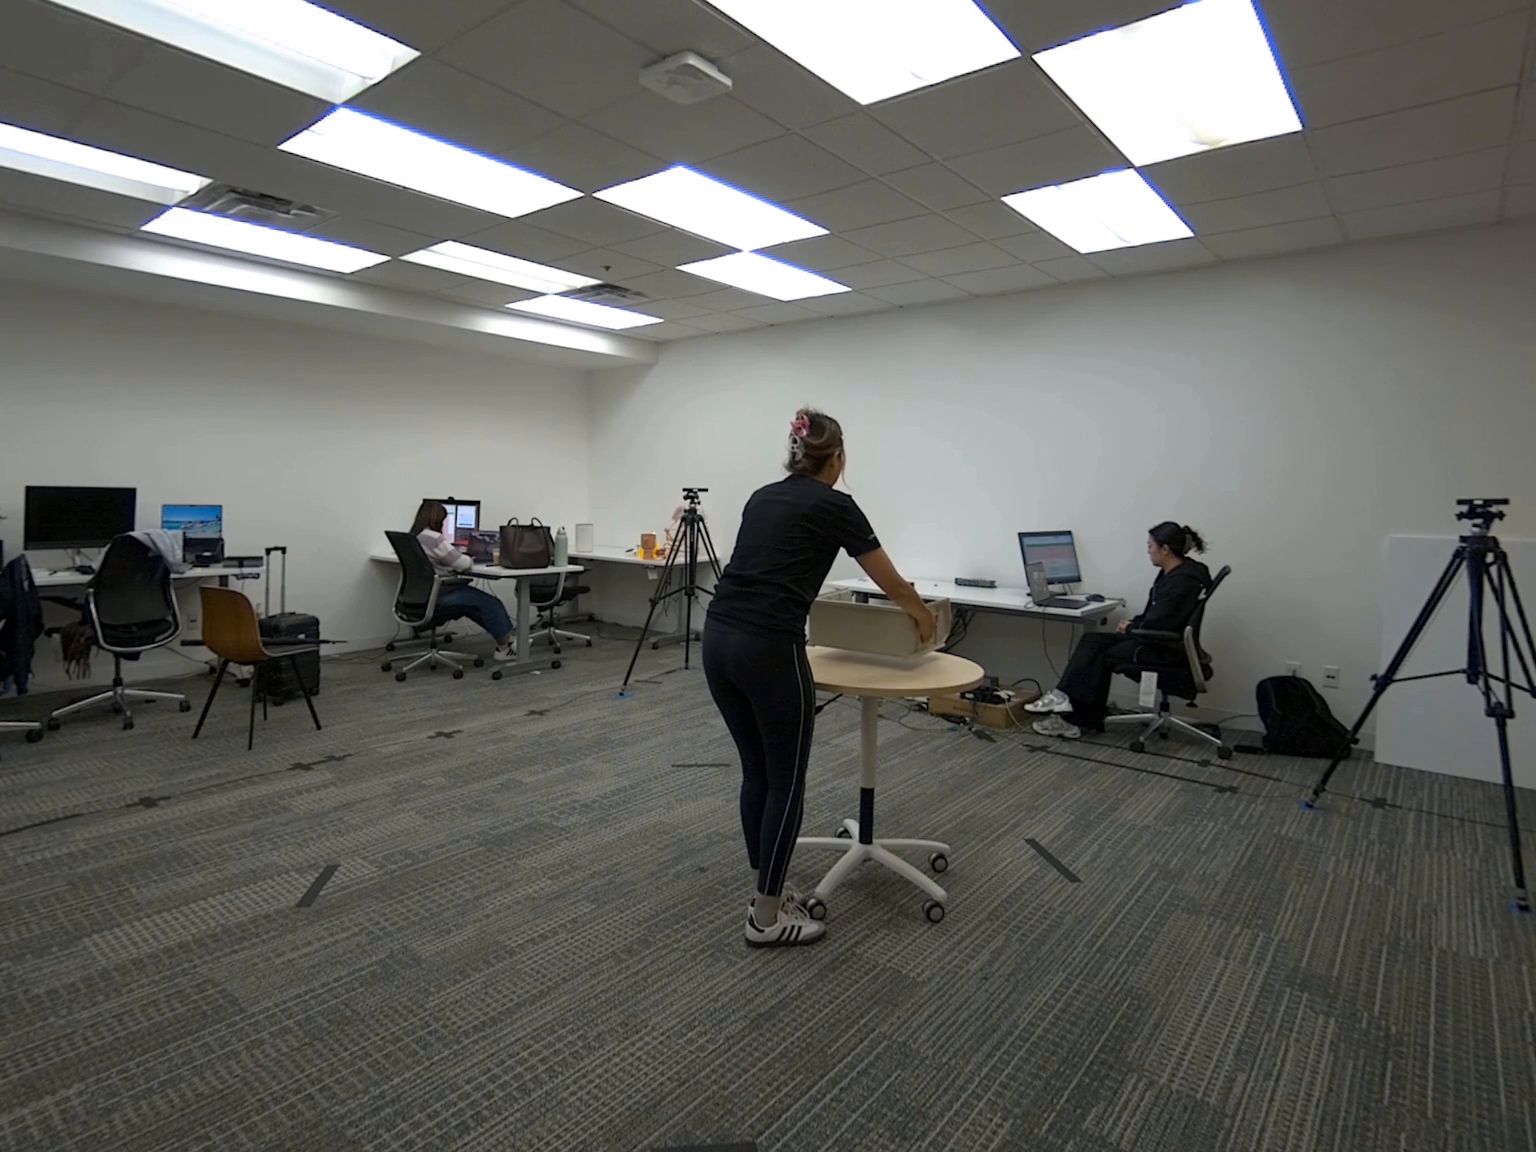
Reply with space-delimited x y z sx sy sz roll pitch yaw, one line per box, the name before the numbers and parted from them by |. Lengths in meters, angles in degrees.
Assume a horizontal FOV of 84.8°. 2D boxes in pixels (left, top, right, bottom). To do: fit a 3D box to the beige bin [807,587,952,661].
beige bin | 0.401 0.159 3.149 0.435 0.187 0.370 6 12 29
